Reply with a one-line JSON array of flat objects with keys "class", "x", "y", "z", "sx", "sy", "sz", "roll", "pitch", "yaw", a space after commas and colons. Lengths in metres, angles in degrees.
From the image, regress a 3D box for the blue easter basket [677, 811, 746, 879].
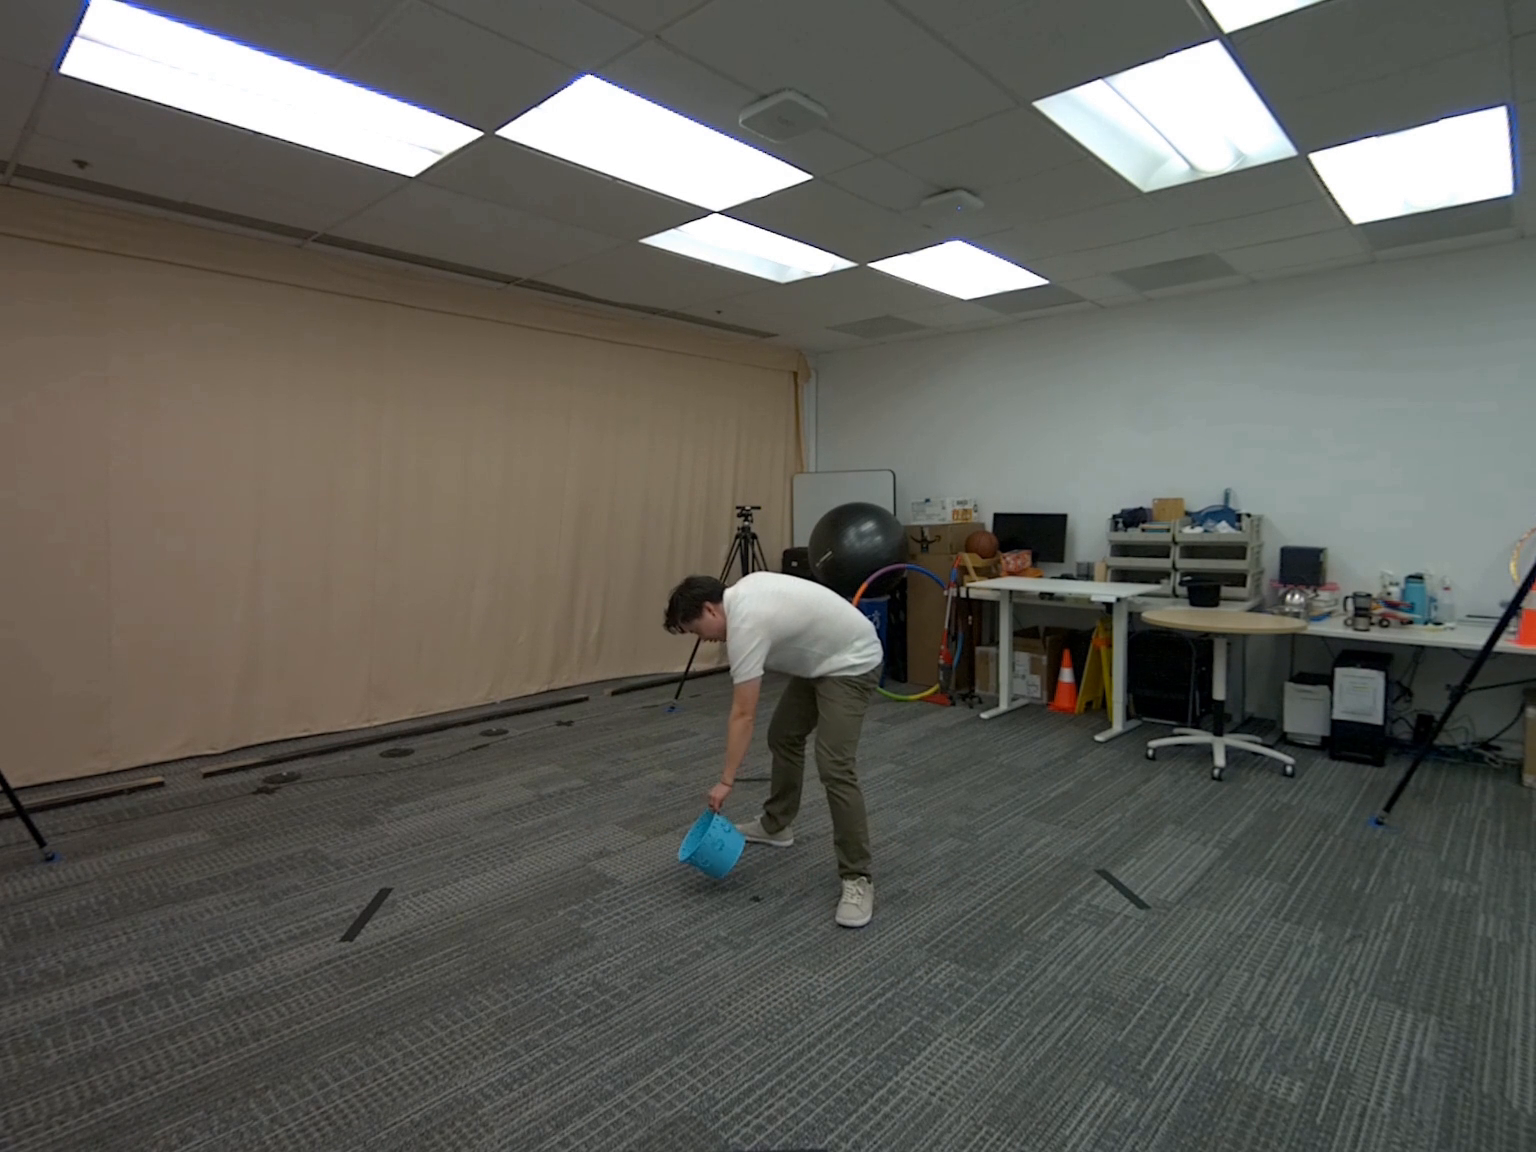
[{"class": "blue easter basket", "x": -0.185, "y": 0.974, "z": 3.052, "sx": 0.155, "sy": 0.243, "sz": 0.245, "roll": 39, "pitch": -1, "yaw": -8}]
